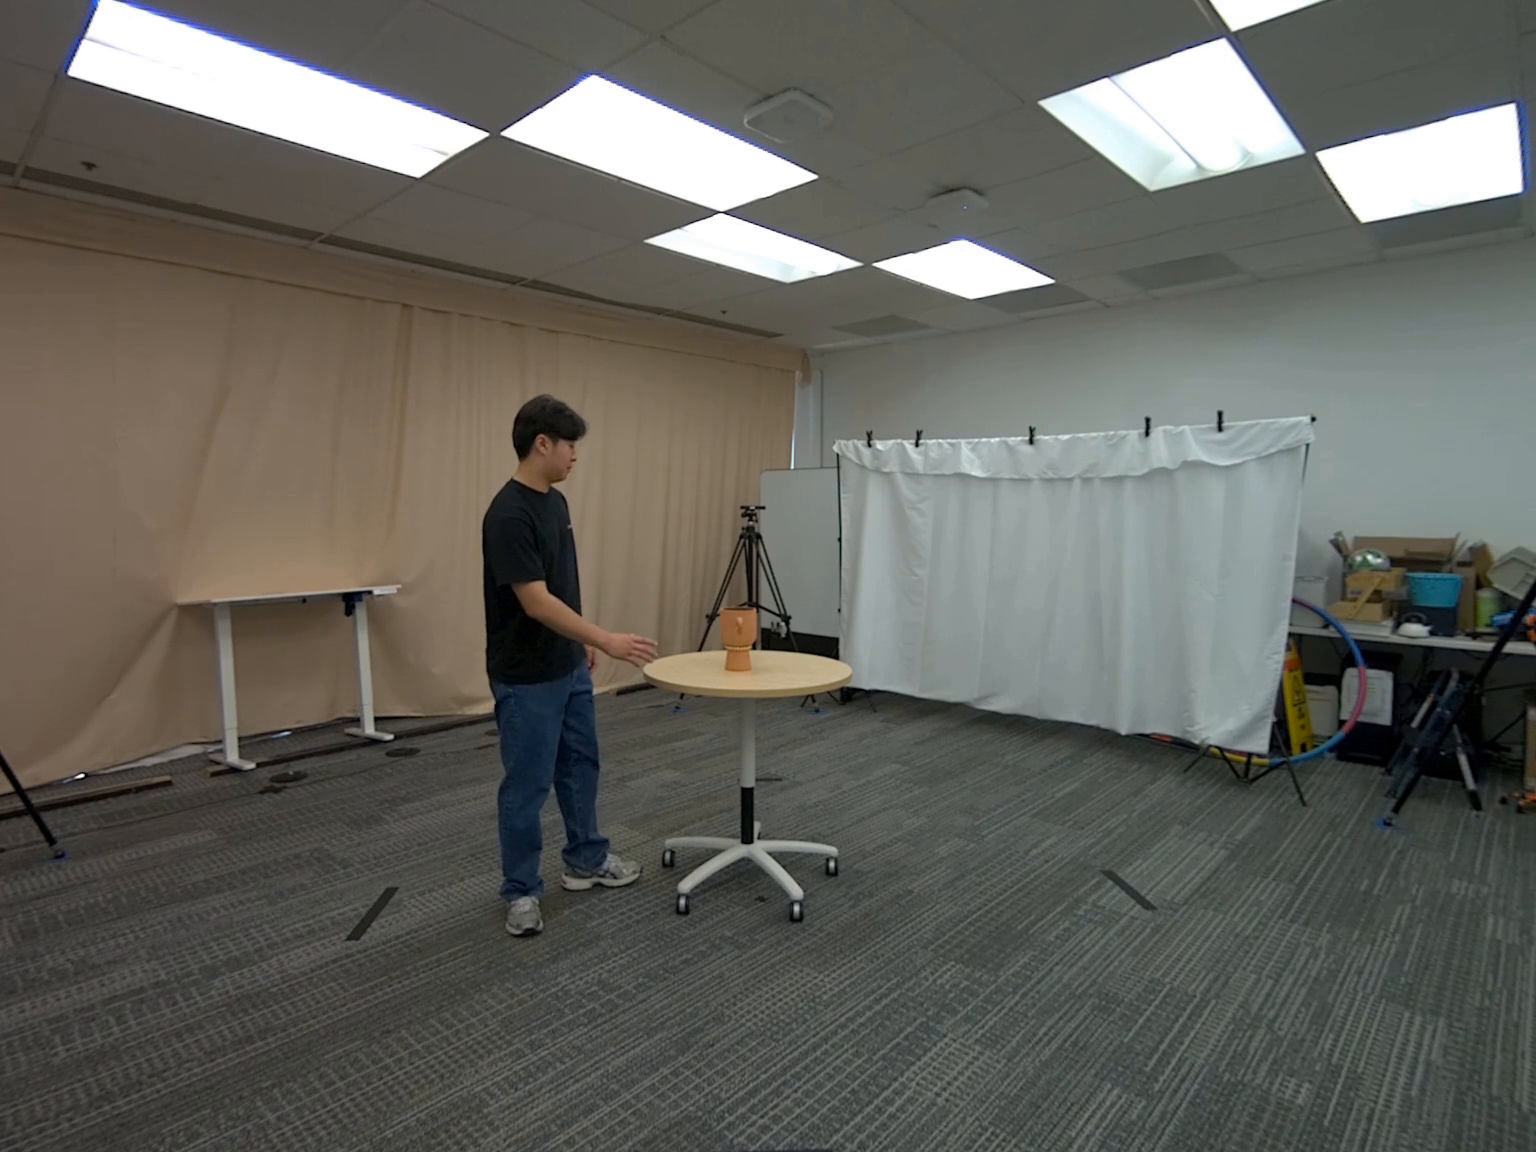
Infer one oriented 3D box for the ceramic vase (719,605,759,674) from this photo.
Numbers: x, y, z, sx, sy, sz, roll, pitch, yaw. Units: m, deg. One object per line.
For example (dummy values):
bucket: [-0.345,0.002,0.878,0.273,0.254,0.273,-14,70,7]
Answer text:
ceramic vase: [-0.111,0.232,3.069,0.139,0.219,0.154,3,5,32]
